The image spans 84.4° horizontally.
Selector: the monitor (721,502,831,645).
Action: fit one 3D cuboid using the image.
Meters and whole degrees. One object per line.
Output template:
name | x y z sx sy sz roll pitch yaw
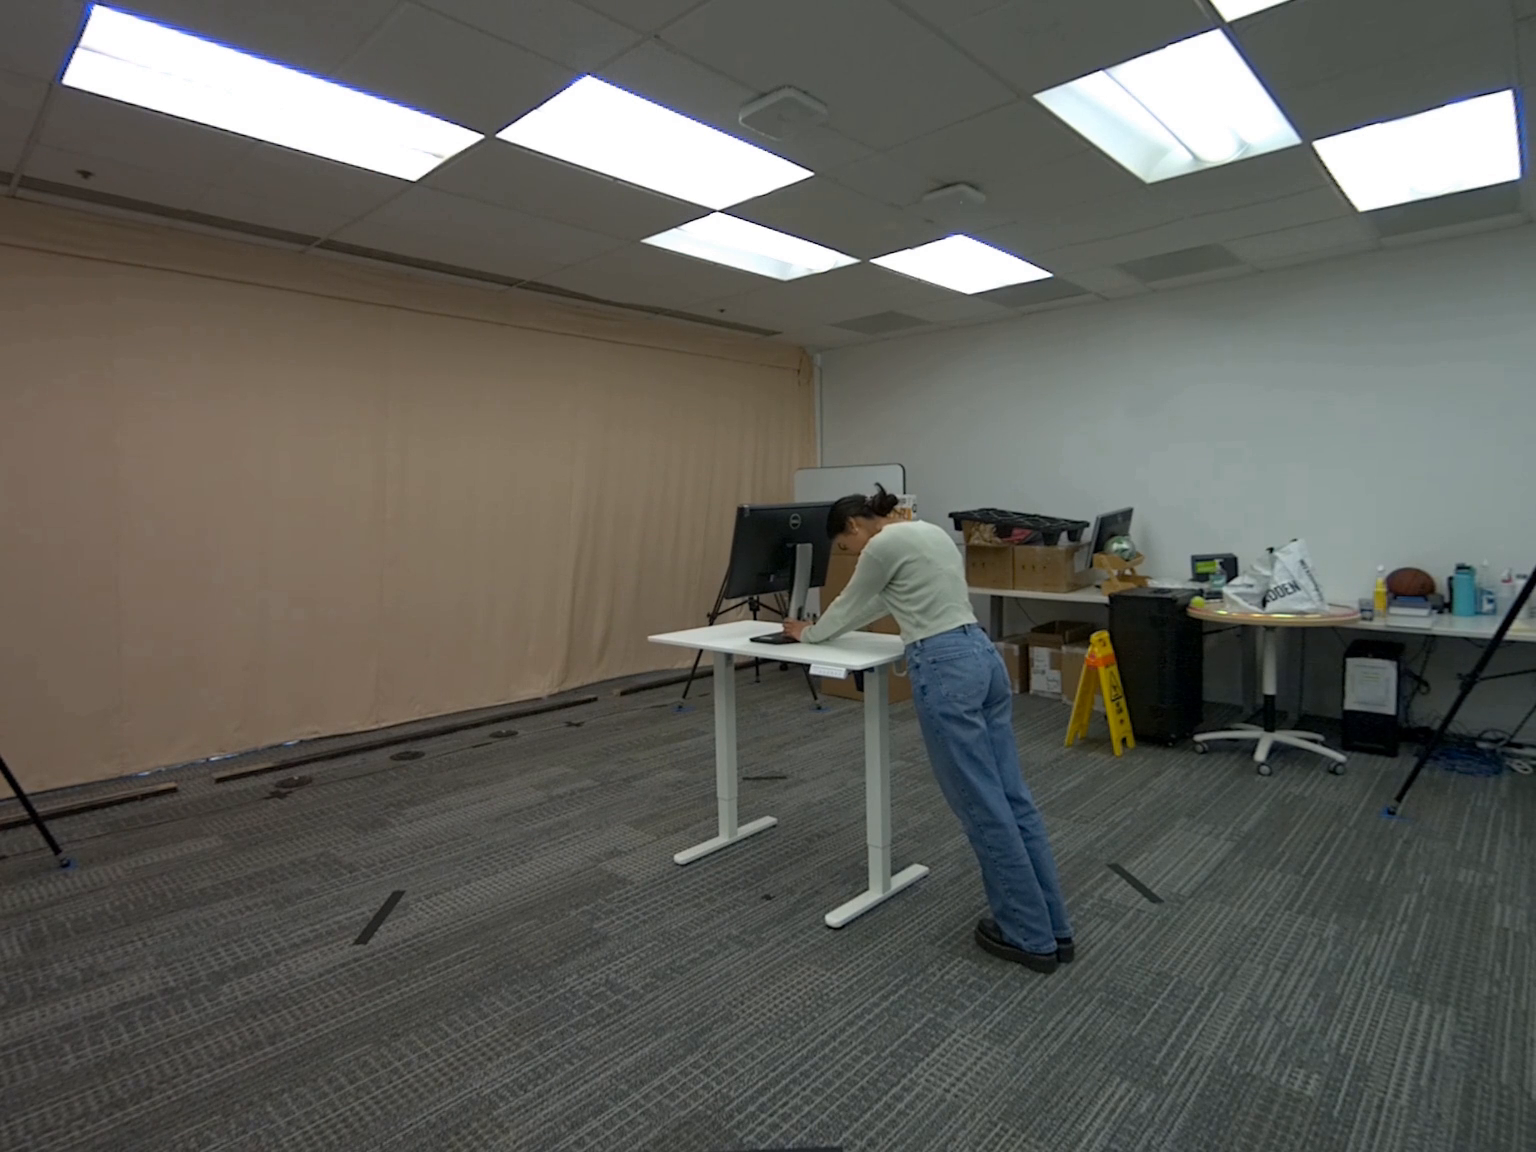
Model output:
monitor | 0.084 -0.012 3.170 0.193 0.521 0.523 3 6 45
